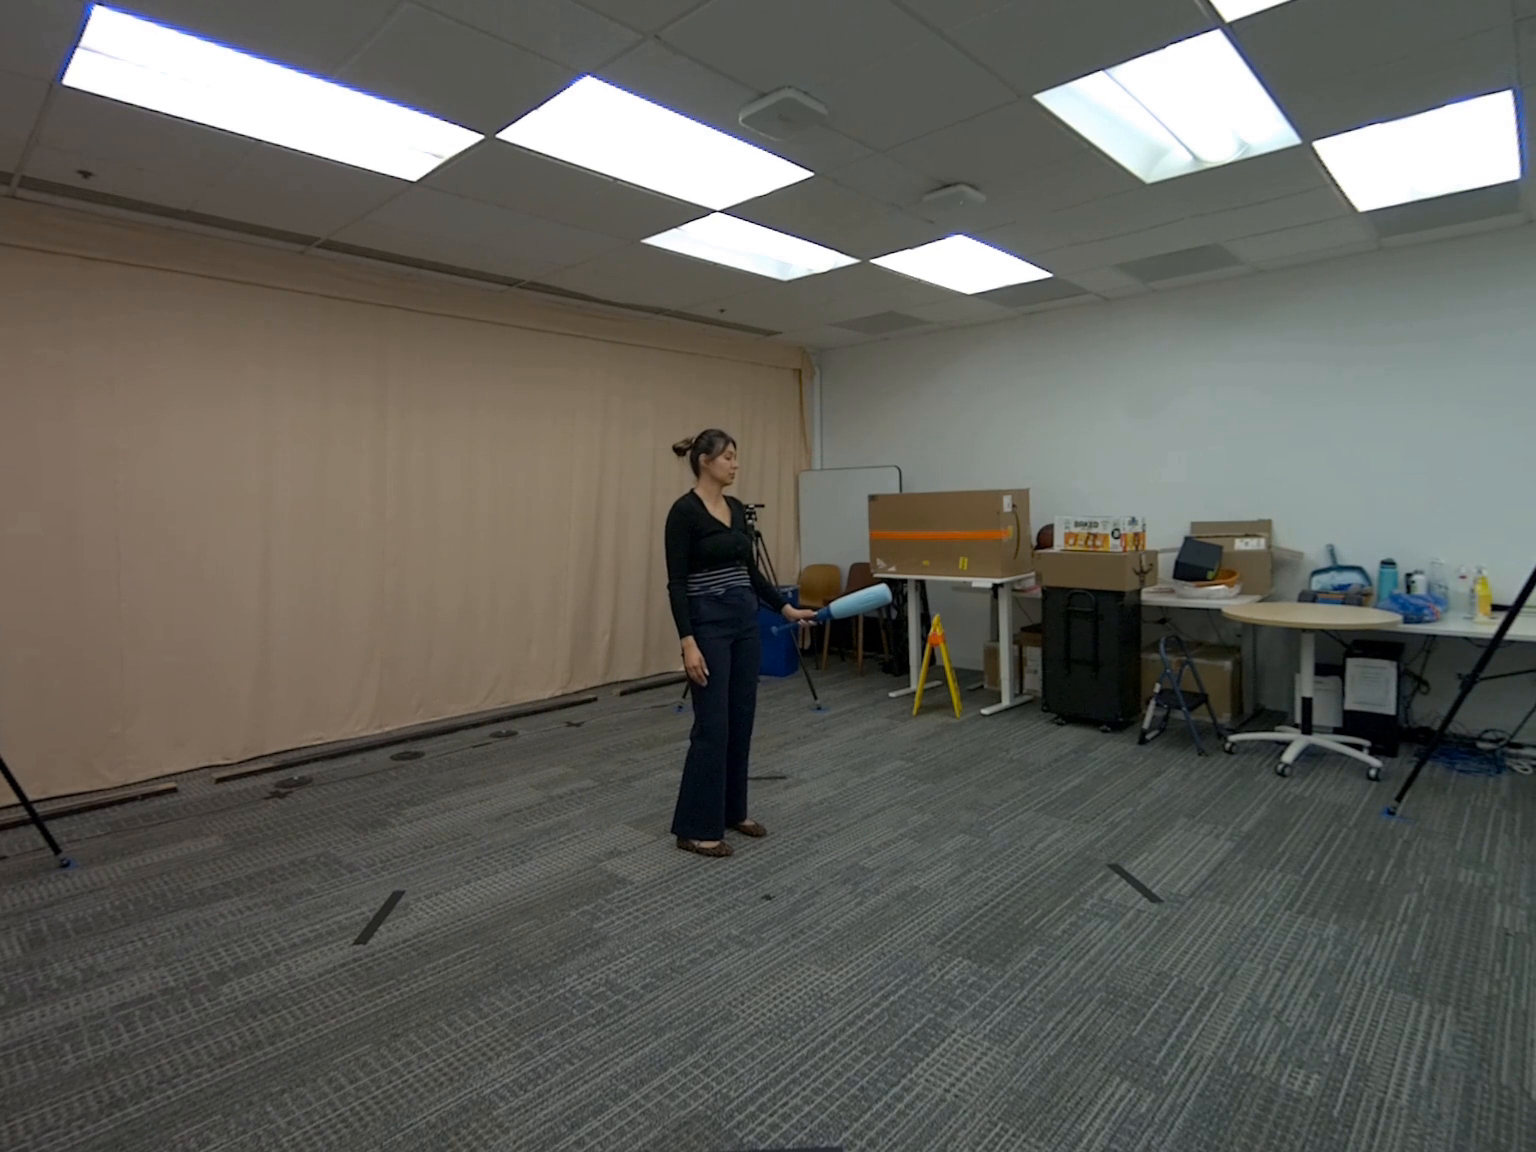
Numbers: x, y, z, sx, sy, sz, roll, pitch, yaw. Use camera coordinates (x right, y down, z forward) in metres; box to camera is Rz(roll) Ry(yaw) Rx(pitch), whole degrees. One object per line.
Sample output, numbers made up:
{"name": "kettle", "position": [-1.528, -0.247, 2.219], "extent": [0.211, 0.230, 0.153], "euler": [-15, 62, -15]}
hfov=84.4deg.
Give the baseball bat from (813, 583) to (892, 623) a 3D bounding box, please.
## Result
{"name": "baseball bat", "position": [0.254, 0.162, 3.524], "extent": [0.551, 0.089, 0.087], "euler": [-21, -3, 21]}
